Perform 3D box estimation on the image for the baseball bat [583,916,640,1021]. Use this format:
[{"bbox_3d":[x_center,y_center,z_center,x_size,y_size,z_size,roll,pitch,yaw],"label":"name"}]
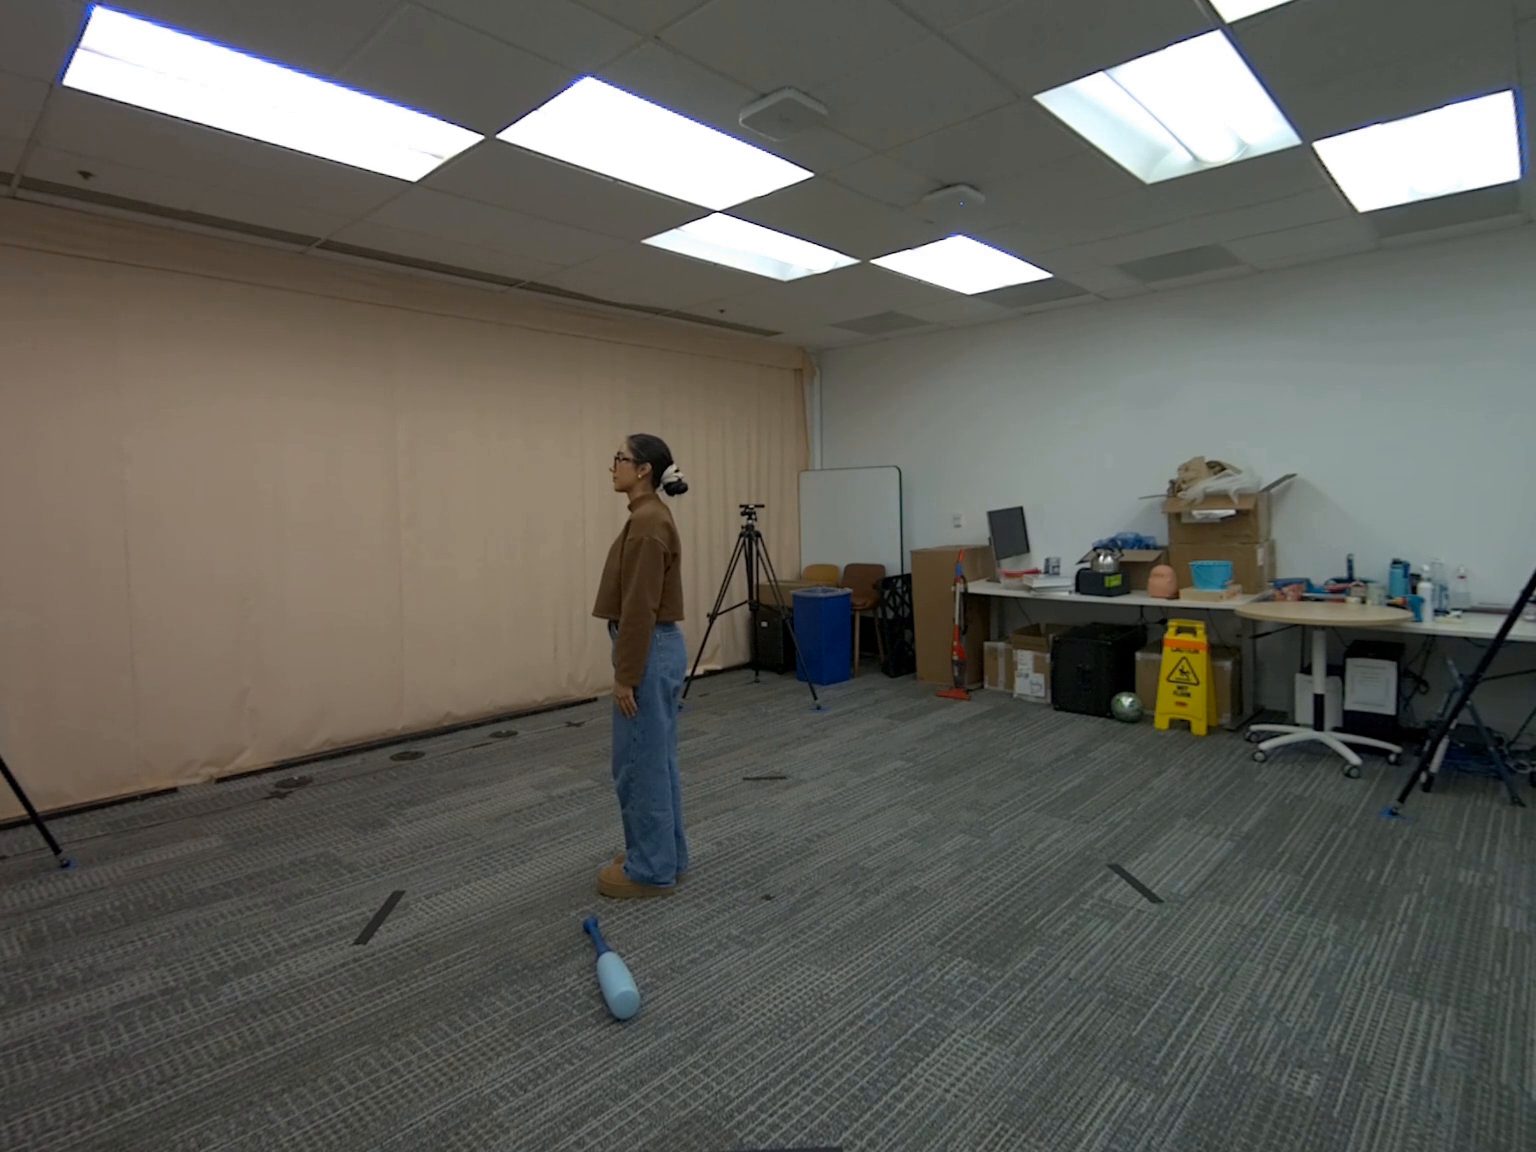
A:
[{"bbox_3d":[-0.482,1.145,2.523,0.087,0.089,0.554,-2,2,-21],"label":"baseball bat"}]
